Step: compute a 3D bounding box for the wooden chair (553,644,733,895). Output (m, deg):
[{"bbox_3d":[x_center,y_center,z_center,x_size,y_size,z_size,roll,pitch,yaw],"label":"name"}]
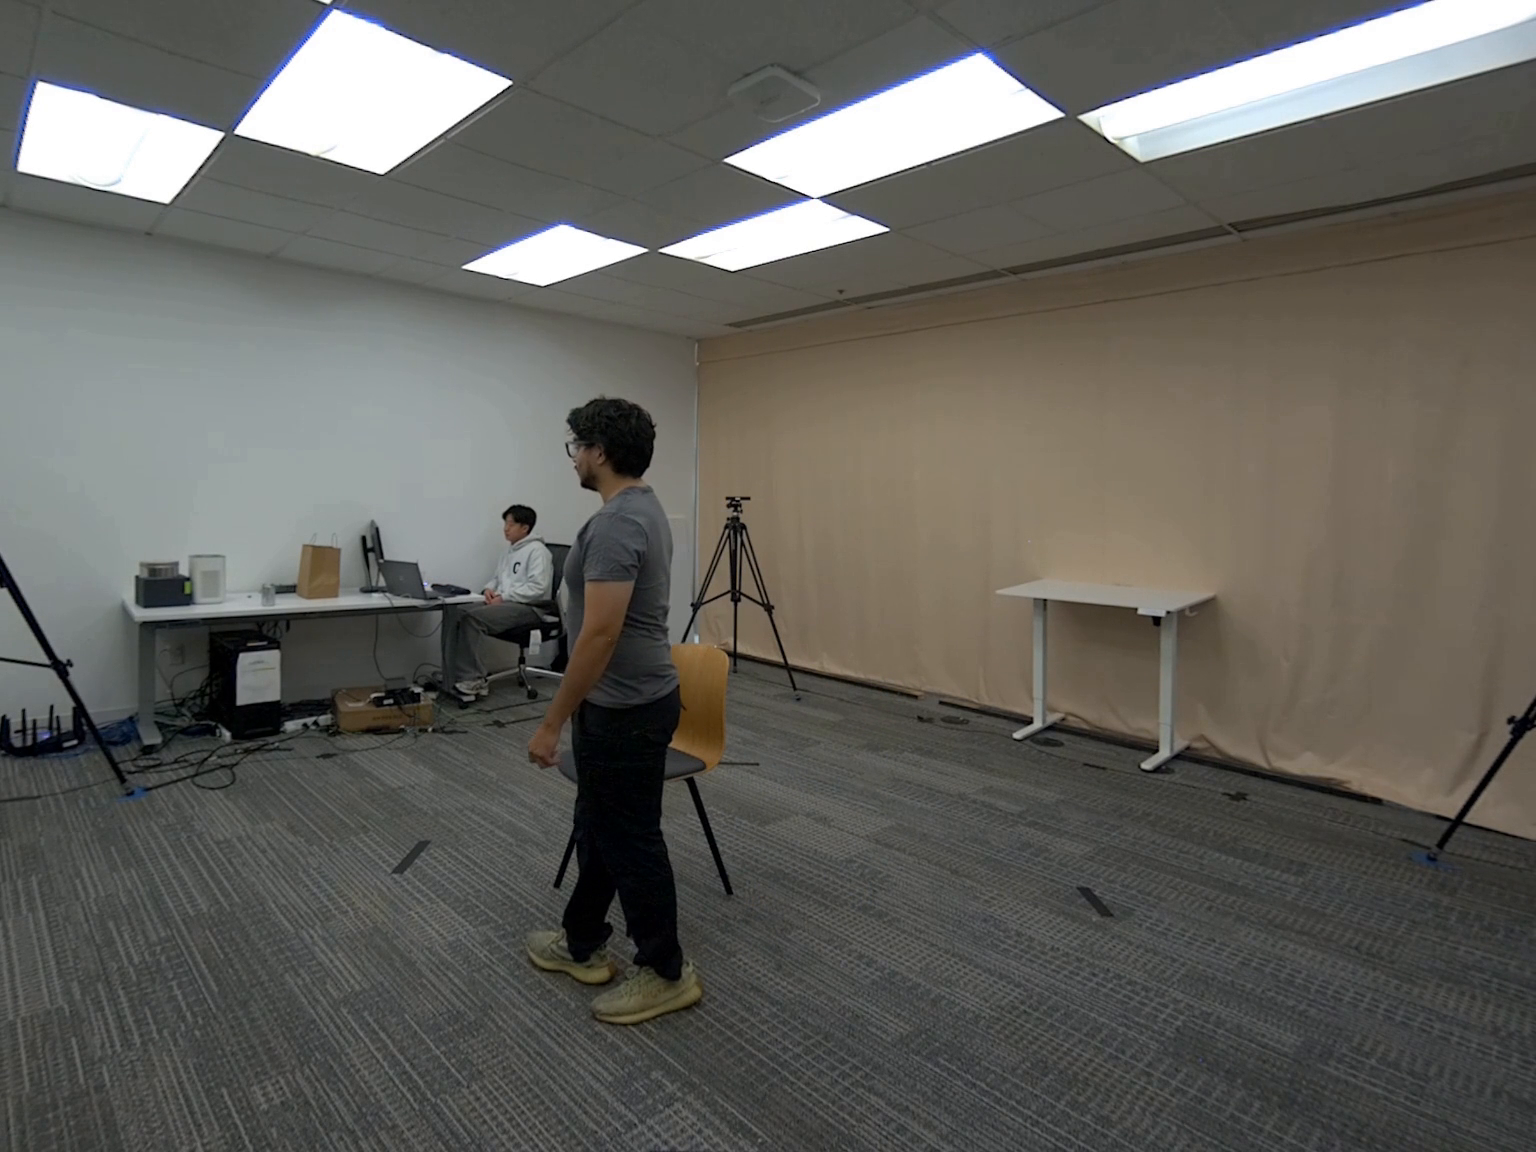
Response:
[{"bbox_3d":[-0.440,0.689,2.930,0.510,0.877,0.490,4,1,-44],"label":"wooden chair"}]
